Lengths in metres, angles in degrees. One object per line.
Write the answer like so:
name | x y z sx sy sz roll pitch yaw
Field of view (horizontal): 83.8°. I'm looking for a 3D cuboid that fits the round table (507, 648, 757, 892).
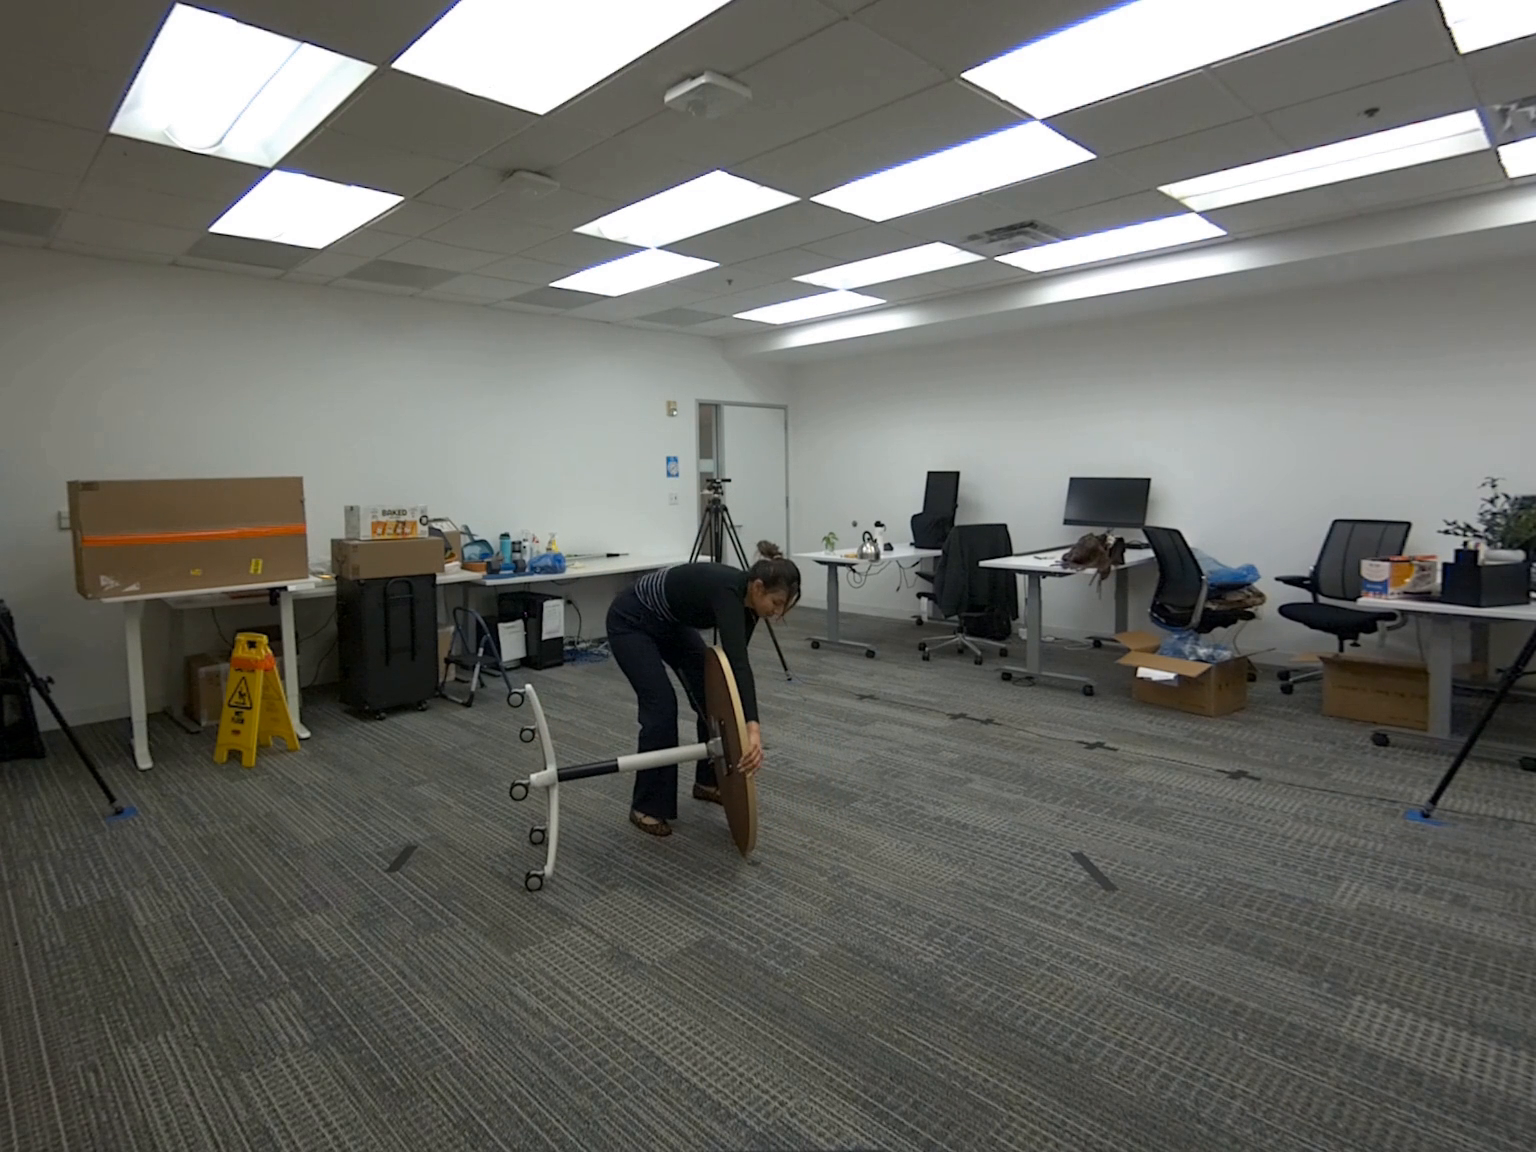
round table | -0.524 0.709 3.174 0.787 0.760 0.775 -8 6 -11
